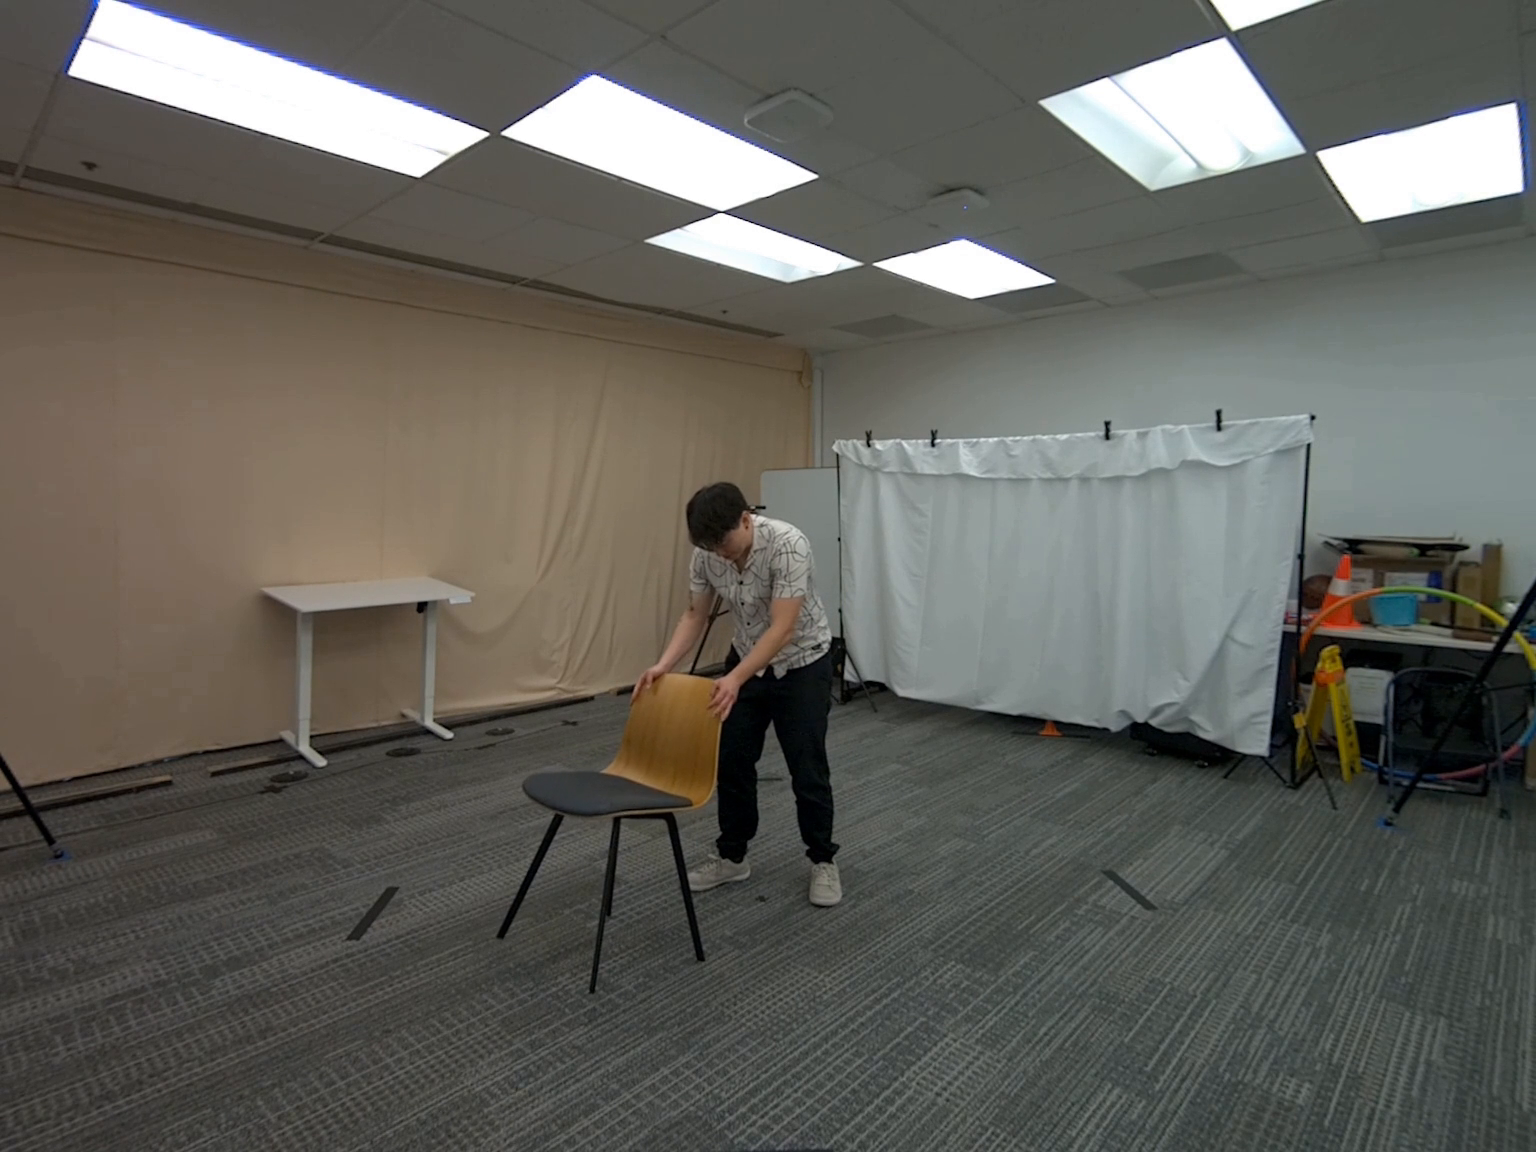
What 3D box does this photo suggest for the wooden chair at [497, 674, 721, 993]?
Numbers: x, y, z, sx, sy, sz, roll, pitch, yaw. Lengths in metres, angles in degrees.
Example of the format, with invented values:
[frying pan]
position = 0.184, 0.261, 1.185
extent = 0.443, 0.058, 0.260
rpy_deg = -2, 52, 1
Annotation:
[wooden chair]
position = -0.456, 0.714, 2.588
extent = 0.494, 0.880, 0.504
rpy_deg = 2, -11, 41
